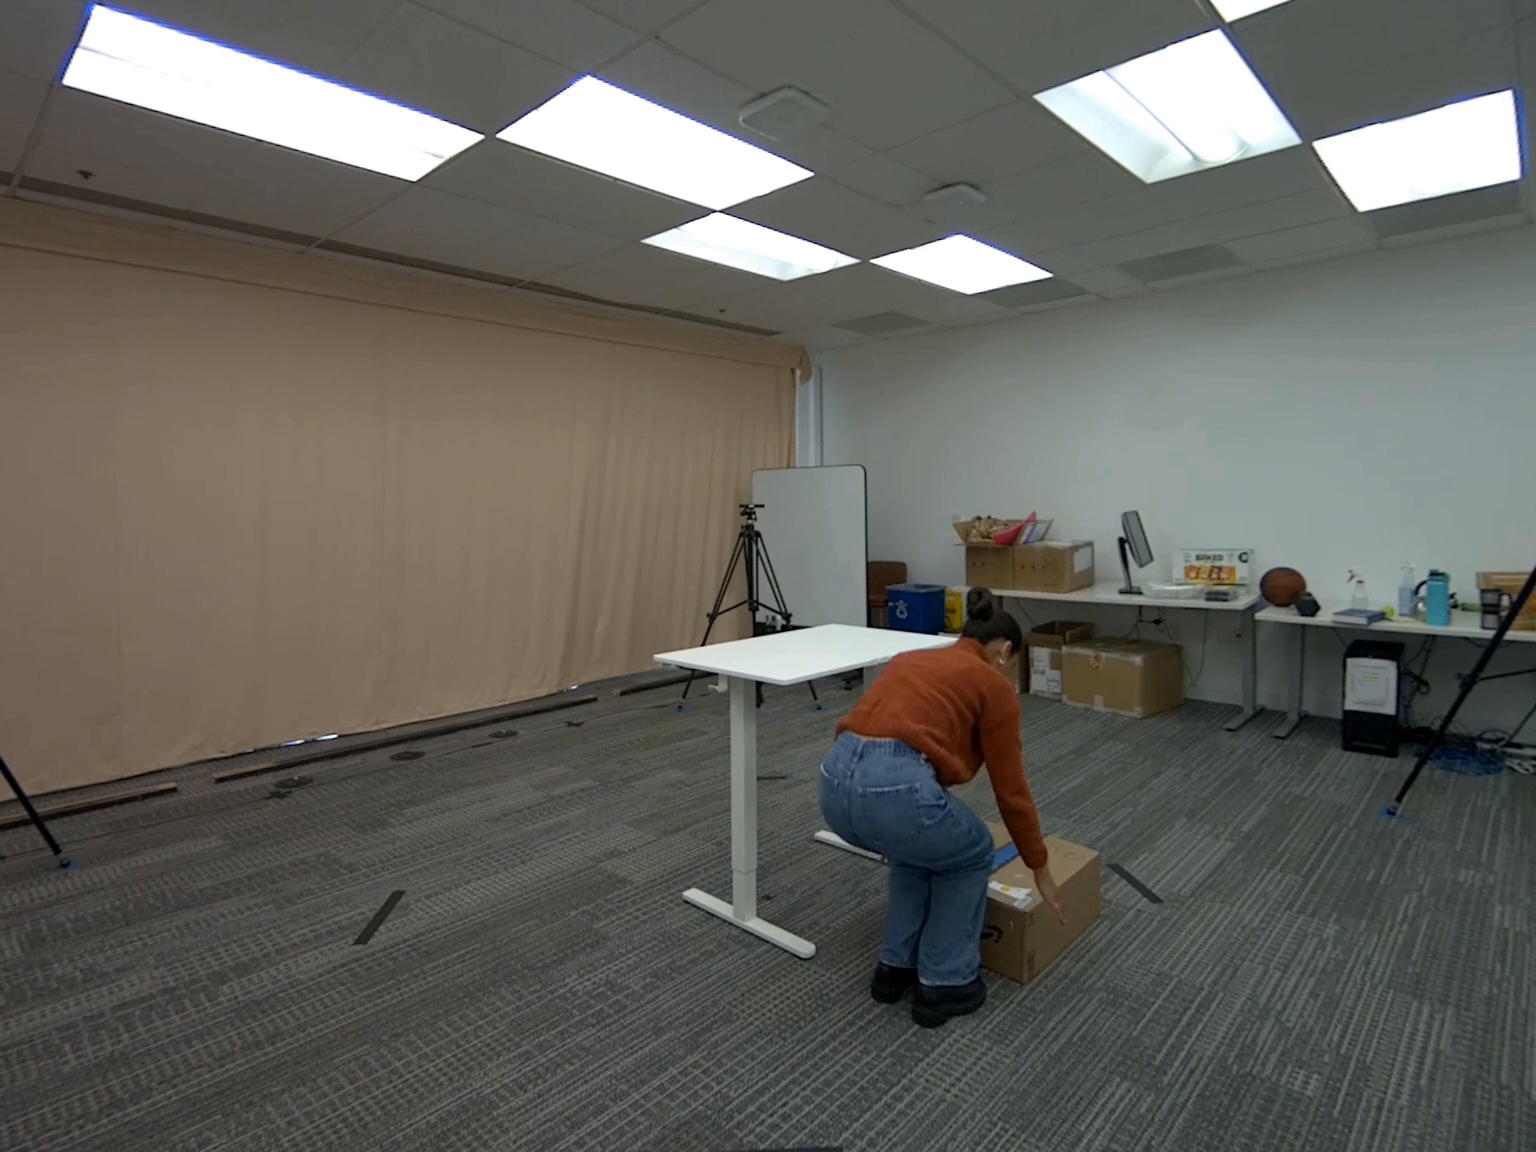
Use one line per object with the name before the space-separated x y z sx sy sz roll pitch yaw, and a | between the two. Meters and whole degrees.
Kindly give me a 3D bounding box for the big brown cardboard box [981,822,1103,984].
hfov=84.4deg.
big brown cardboard box | 0.775 1.035 2.751 0.431 0.232 0.571 4 6 43
